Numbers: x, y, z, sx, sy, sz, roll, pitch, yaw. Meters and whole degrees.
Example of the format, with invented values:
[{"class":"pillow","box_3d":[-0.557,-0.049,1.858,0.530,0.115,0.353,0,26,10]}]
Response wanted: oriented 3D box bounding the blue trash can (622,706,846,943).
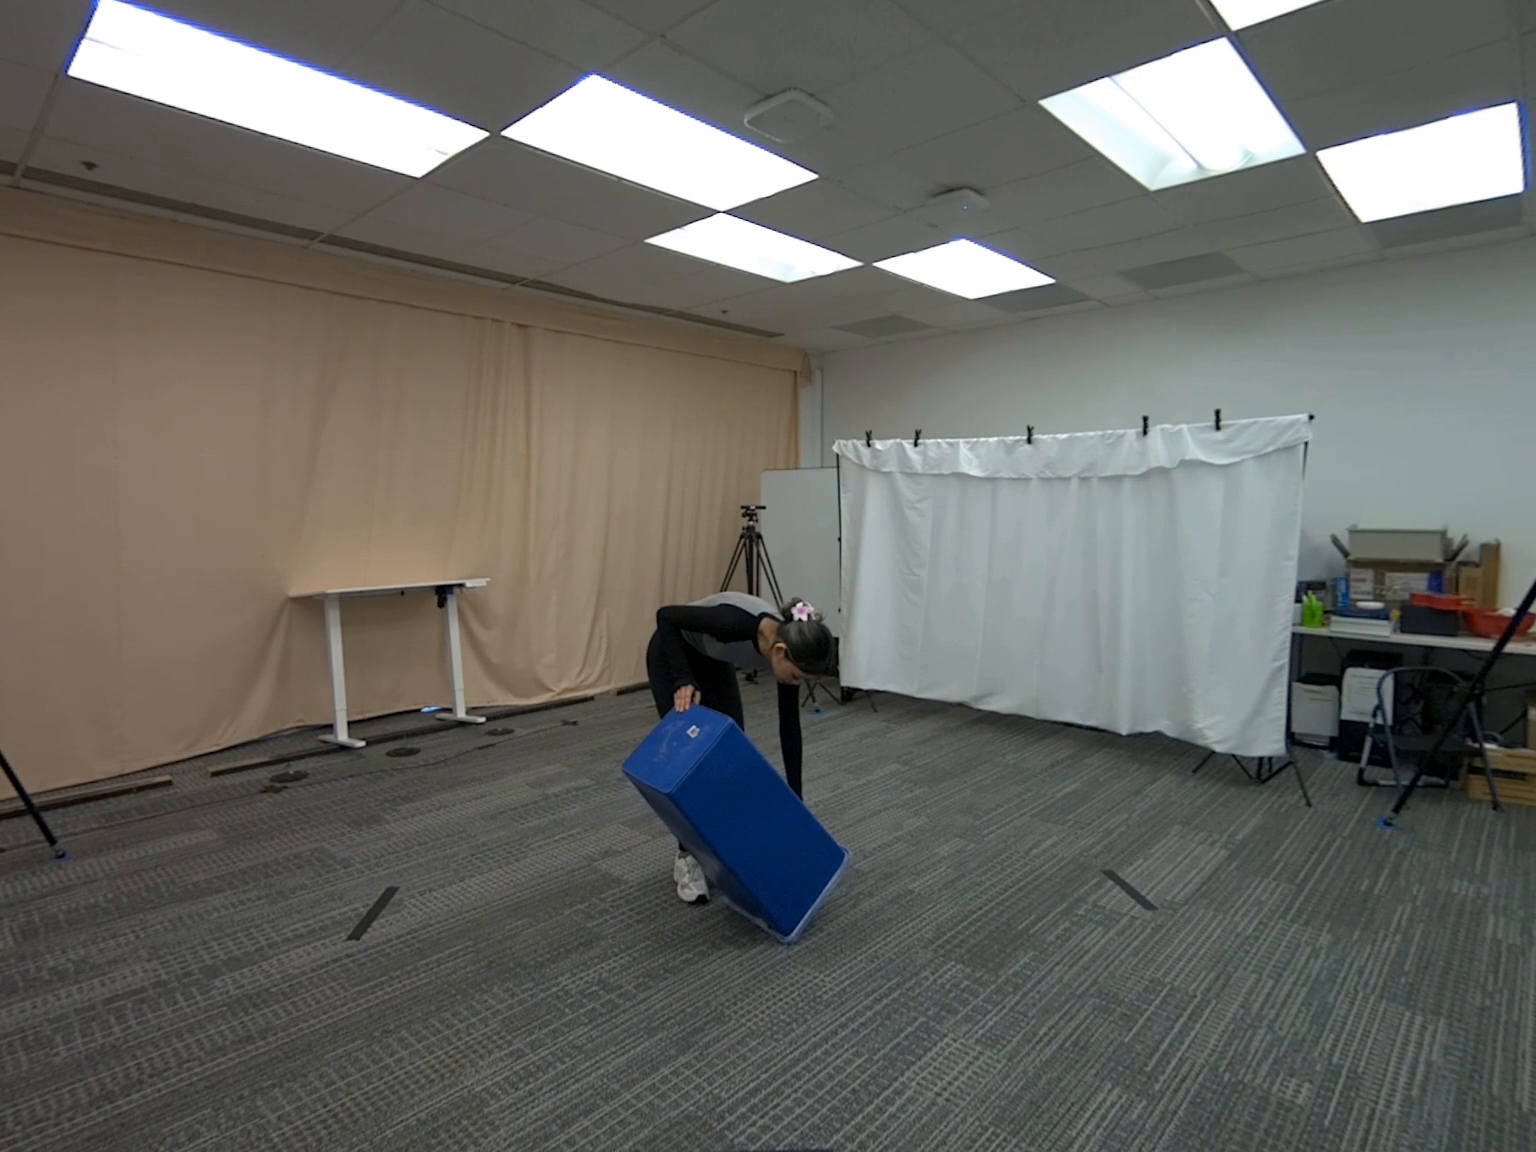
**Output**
[{"class":"blue trash can","box_3d":[-0.098,0.779,2.732,0.371,0.696,0.390,-45,27,-24]}]
